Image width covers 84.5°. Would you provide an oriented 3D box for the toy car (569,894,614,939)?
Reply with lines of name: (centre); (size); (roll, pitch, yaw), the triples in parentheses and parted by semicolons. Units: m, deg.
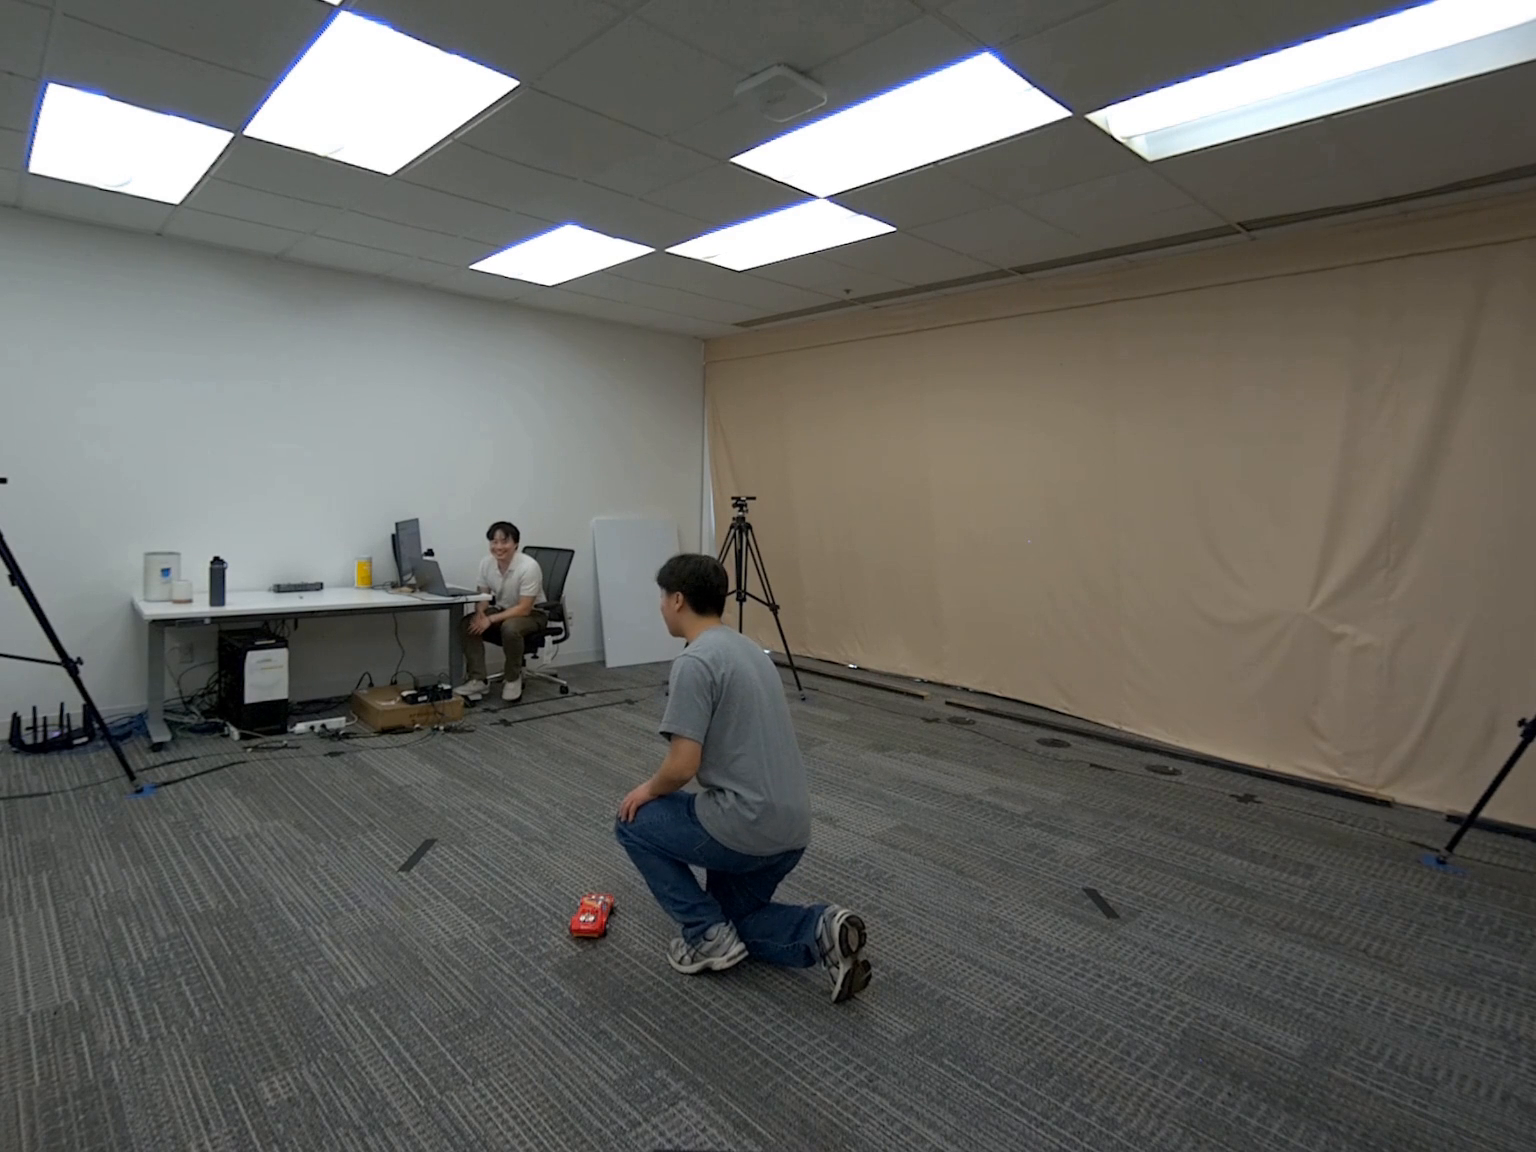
toy car: (-0.573, 1.099, 2.710); (0.130, 0.083, 0.253); (2, -6, 0)
